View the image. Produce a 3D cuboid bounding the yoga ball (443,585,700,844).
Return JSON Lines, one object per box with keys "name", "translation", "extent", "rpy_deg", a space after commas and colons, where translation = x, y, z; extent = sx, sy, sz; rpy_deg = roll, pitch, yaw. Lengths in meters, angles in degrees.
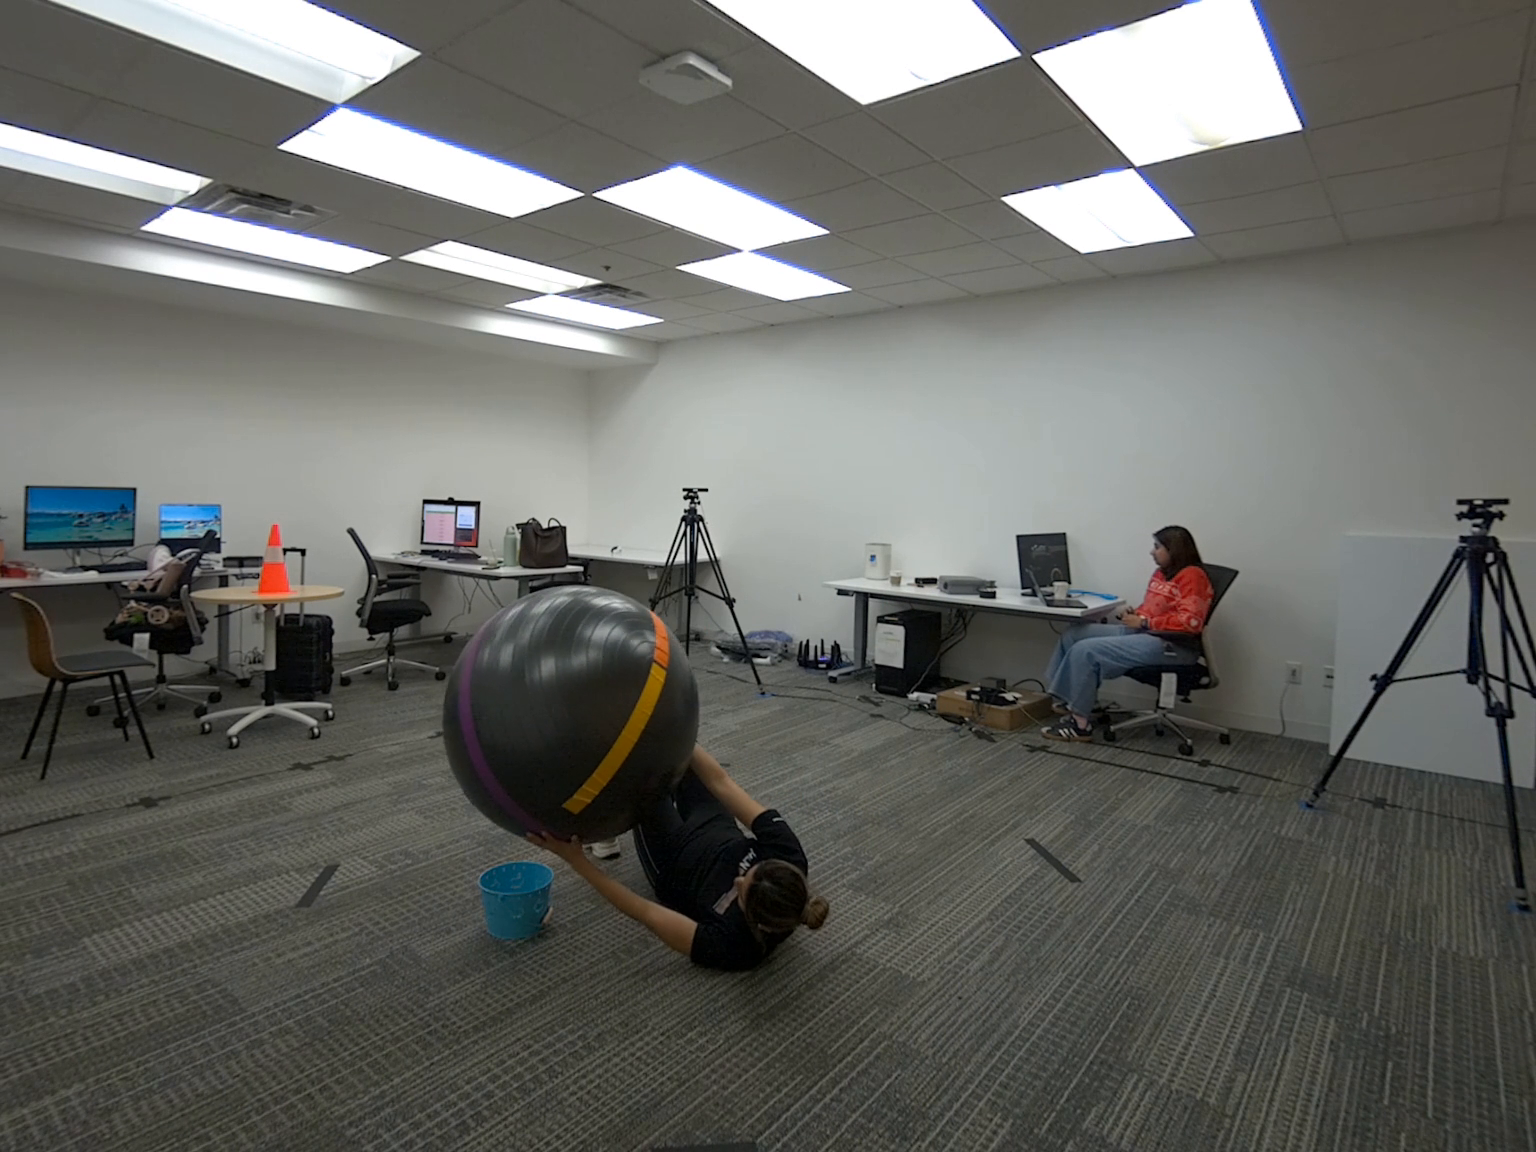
{"name": "yoga ball", "translation": [-0.585, 0.408, 2.558], "extent": [0.757, 0.756, 0.761], "rpy_deg": [-3, 3, -2]}
